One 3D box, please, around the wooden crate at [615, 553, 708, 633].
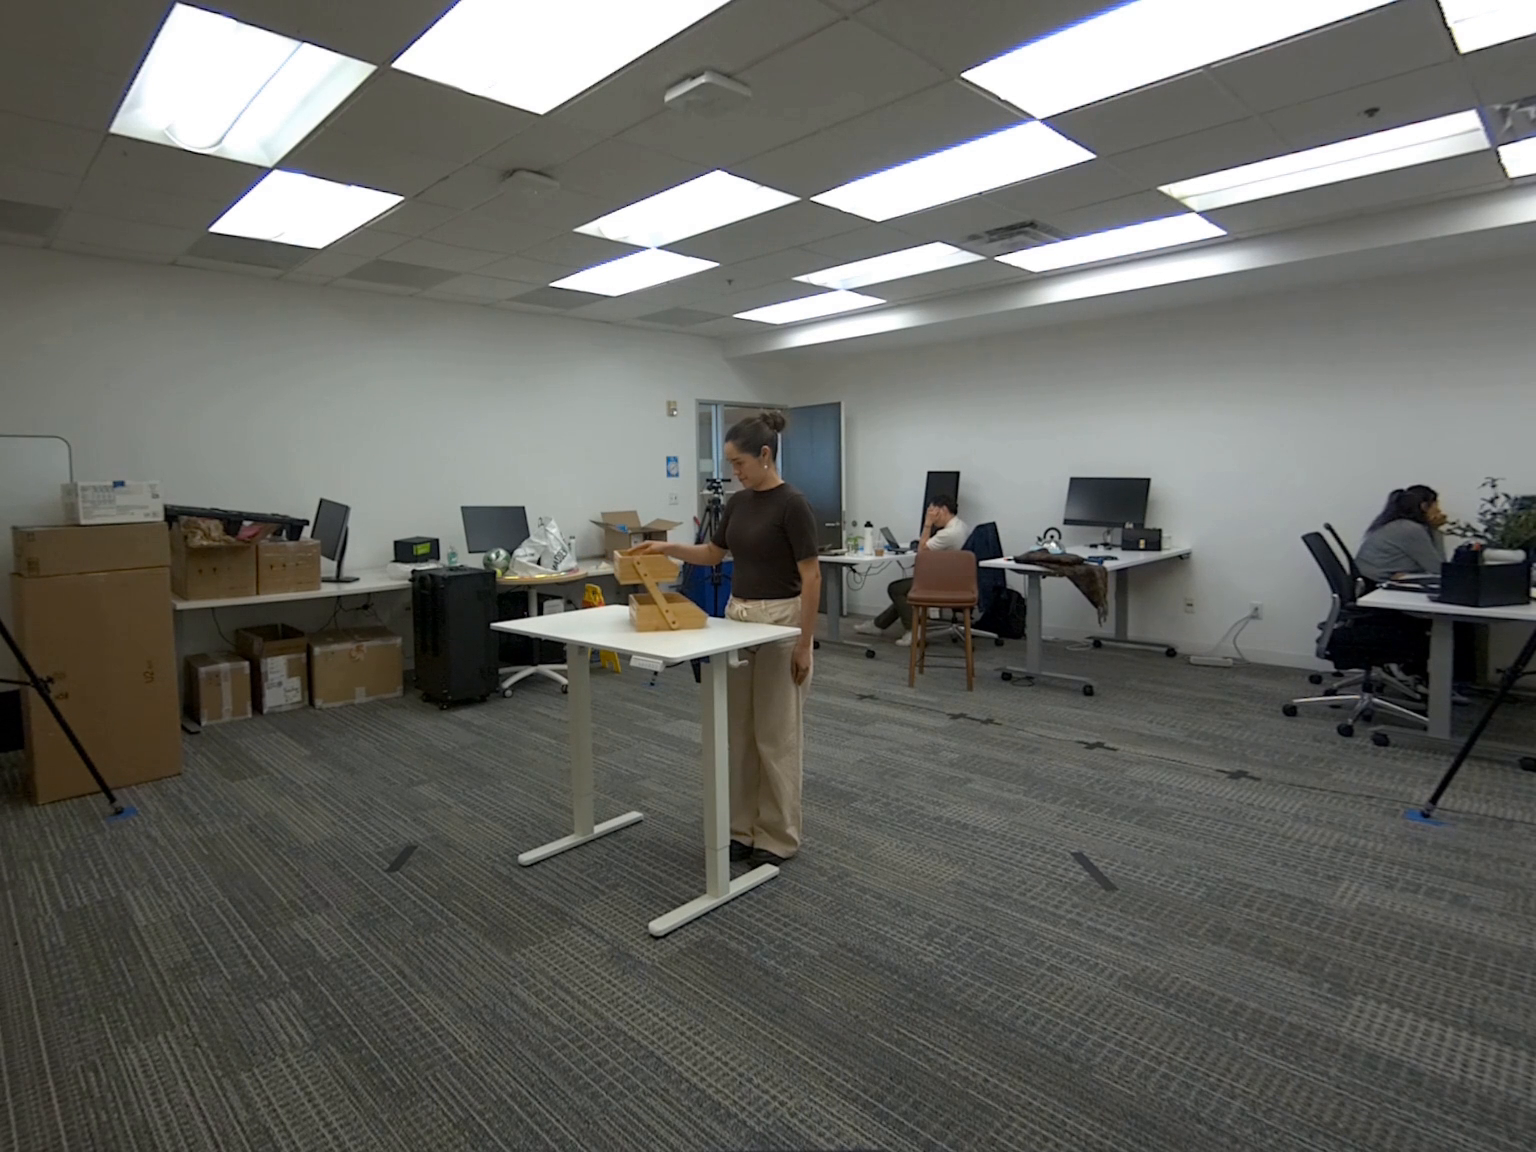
[{"bbox_3d":[-0.385,0.039,3.060,0.299,0.272,0.329,-3,5,-12],"label":"wooden crate"}]
